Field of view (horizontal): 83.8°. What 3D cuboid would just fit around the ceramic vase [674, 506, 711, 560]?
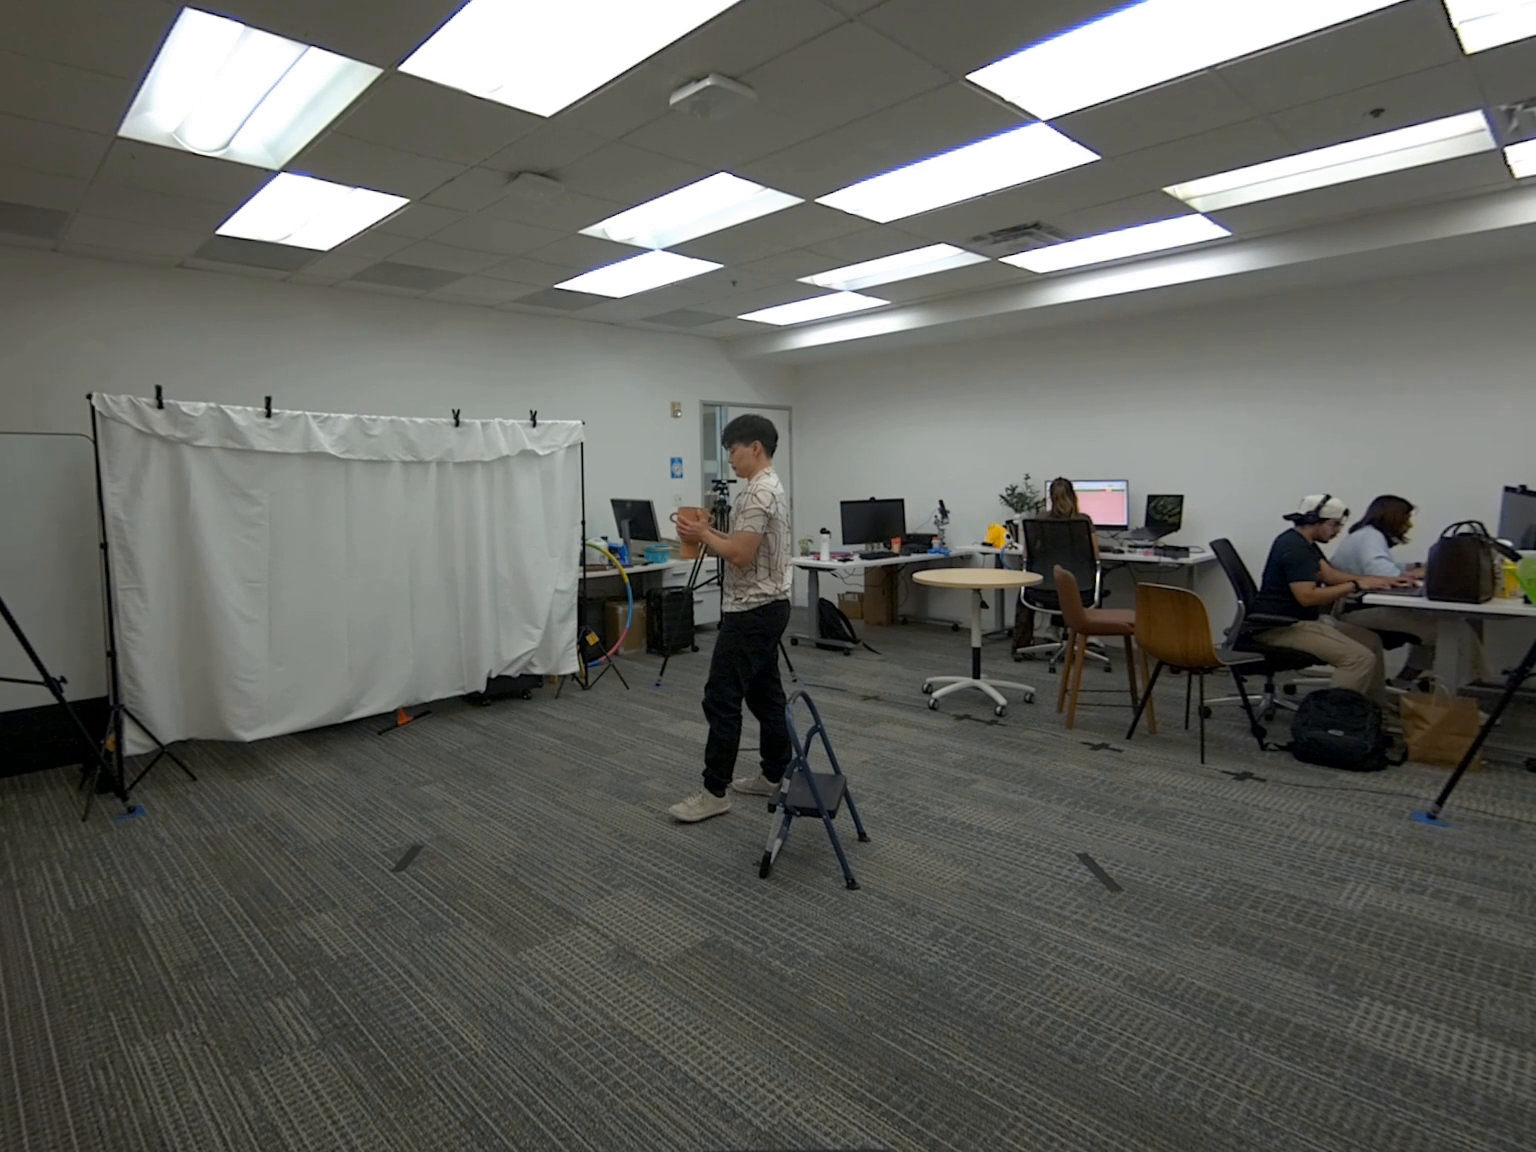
[{"bbox_3d":[-0.342,-0.190,3.737,0.163,0.219,0.131,8,7,31],"label":"ceramic vase"}]
